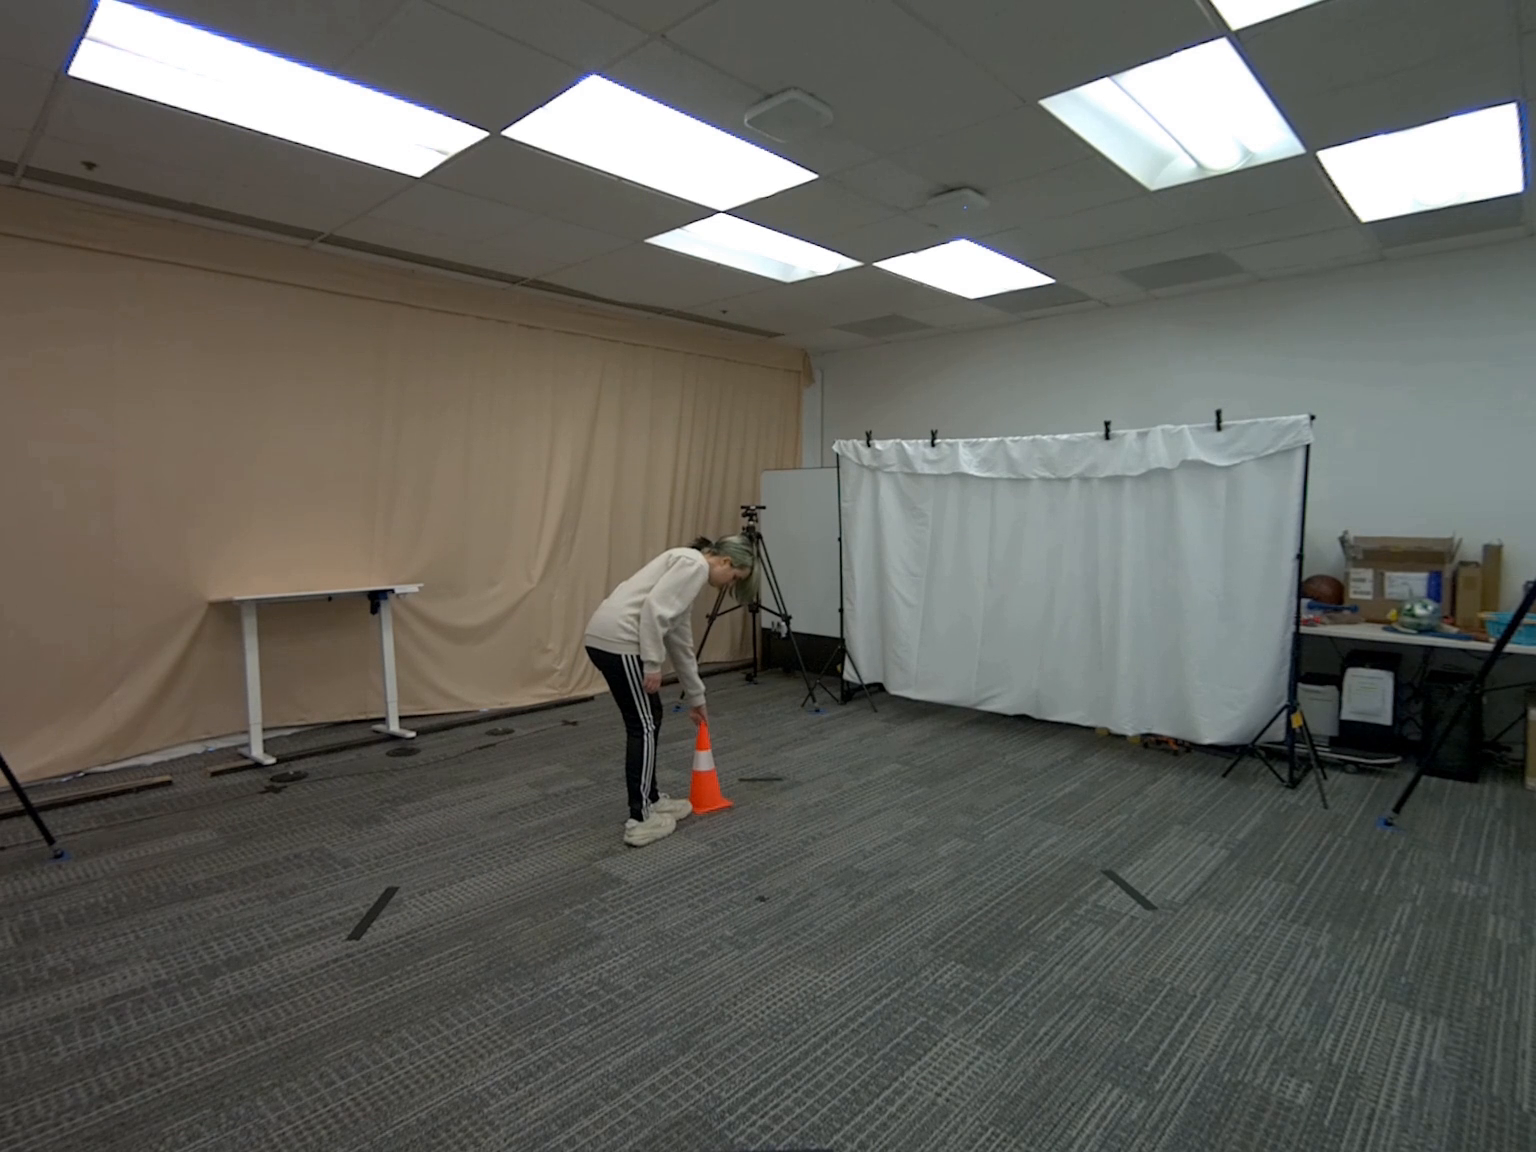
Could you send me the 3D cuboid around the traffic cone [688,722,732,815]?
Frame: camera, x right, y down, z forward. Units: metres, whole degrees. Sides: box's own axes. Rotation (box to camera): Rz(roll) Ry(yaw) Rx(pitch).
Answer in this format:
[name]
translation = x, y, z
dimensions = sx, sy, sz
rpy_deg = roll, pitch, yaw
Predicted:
[traffic cone]
translation = -0.302, 0.880, 3.940
dimensions = 0.199, 0.383, 0.210
rpy_deg = -4, 2, -24
